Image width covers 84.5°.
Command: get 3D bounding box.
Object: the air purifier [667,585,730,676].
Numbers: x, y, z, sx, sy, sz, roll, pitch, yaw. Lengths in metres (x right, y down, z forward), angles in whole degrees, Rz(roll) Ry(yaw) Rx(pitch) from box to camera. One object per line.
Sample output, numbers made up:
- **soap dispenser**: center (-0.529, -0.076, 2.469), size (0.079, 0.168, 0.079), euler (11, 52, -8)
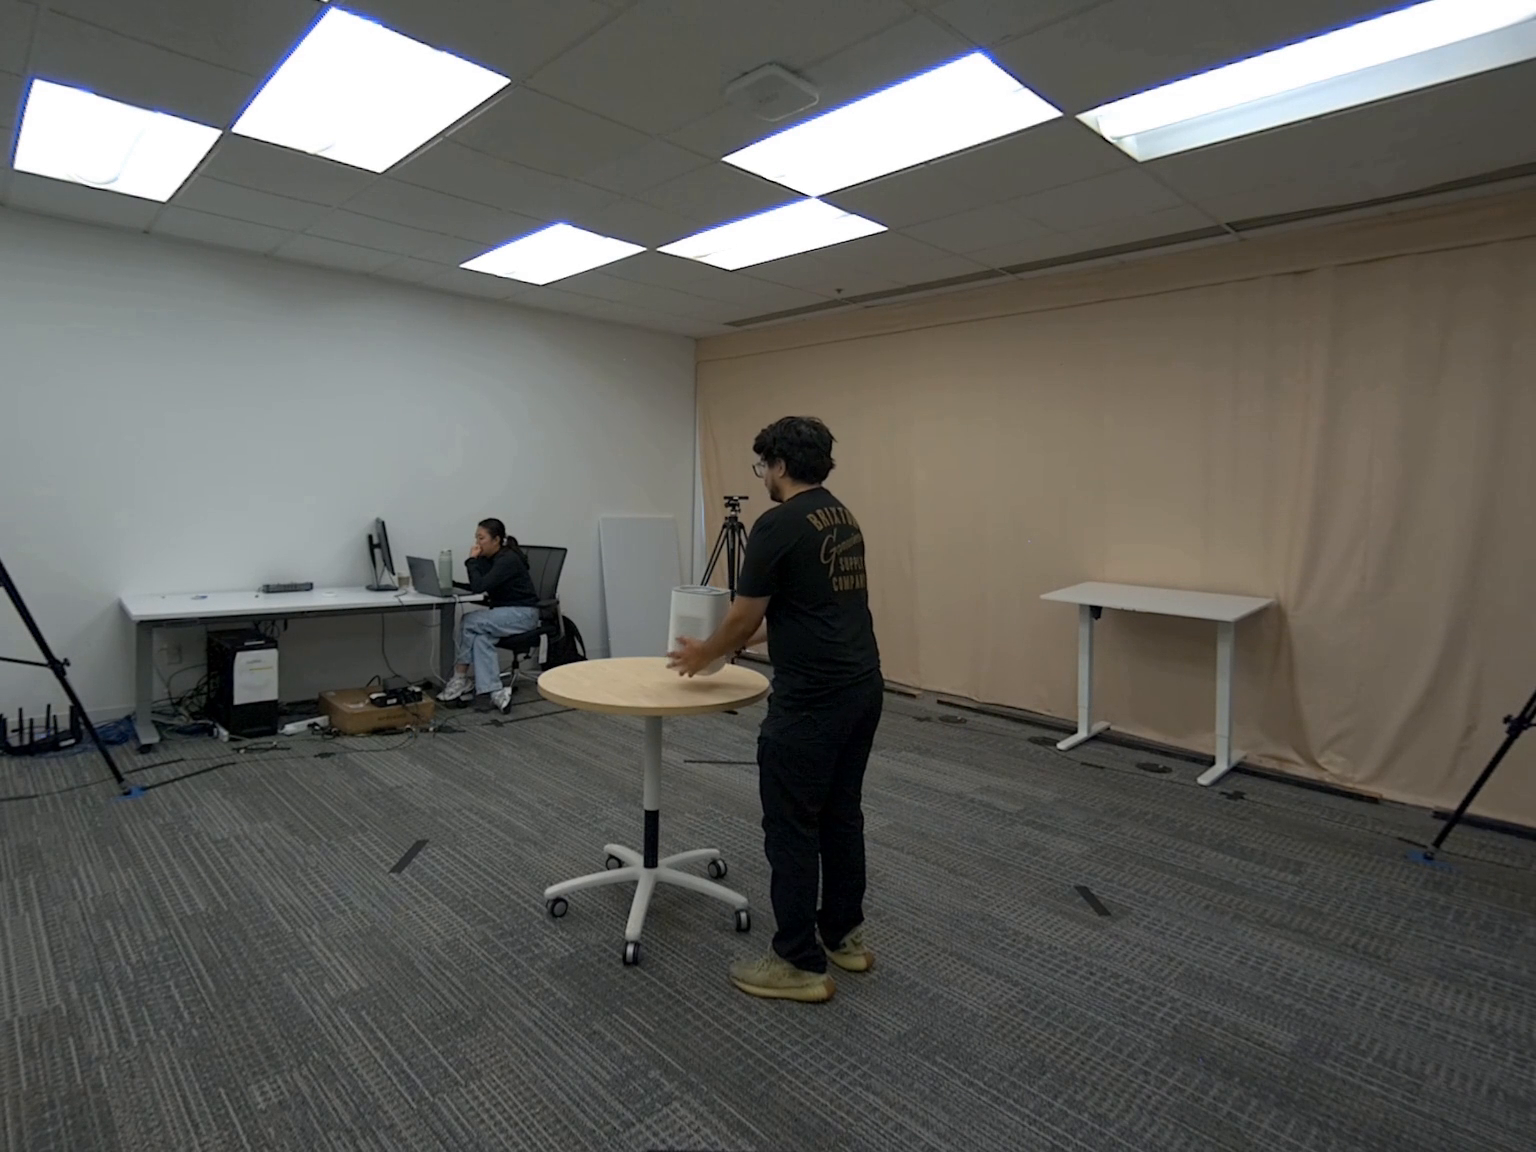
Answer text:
- **air purifier**: center (-0.222, 0.178, 2.708), size (0.174, 0.264, 0.169), euler (6, 5, 16)
